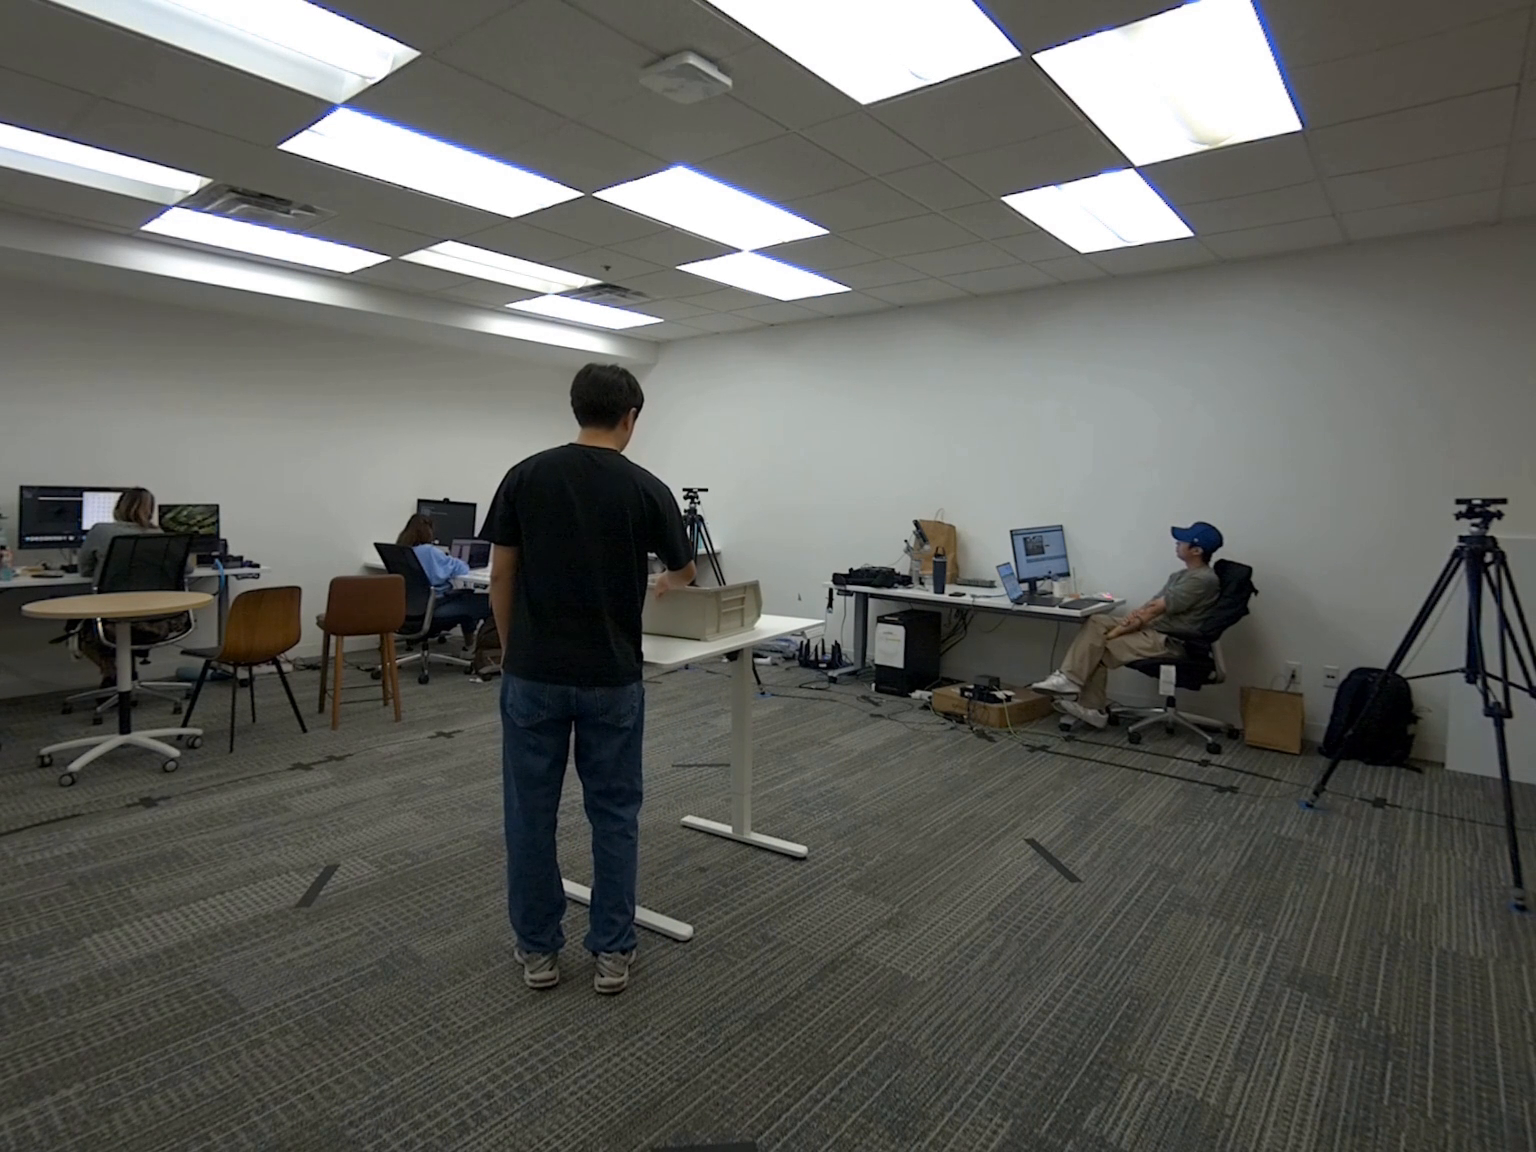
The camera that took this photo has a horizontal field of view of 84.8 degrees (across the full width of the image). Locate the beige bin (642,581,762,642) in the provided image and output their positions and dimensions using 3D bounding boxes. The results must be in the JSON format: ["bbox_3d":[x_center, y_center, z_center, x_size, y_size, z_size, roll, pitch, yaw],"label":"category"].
[{"bbox_3d":[-0.302,0.102,3.053,0.435,0.188,0.368,4,7,30],"label":"beige bin"}]
